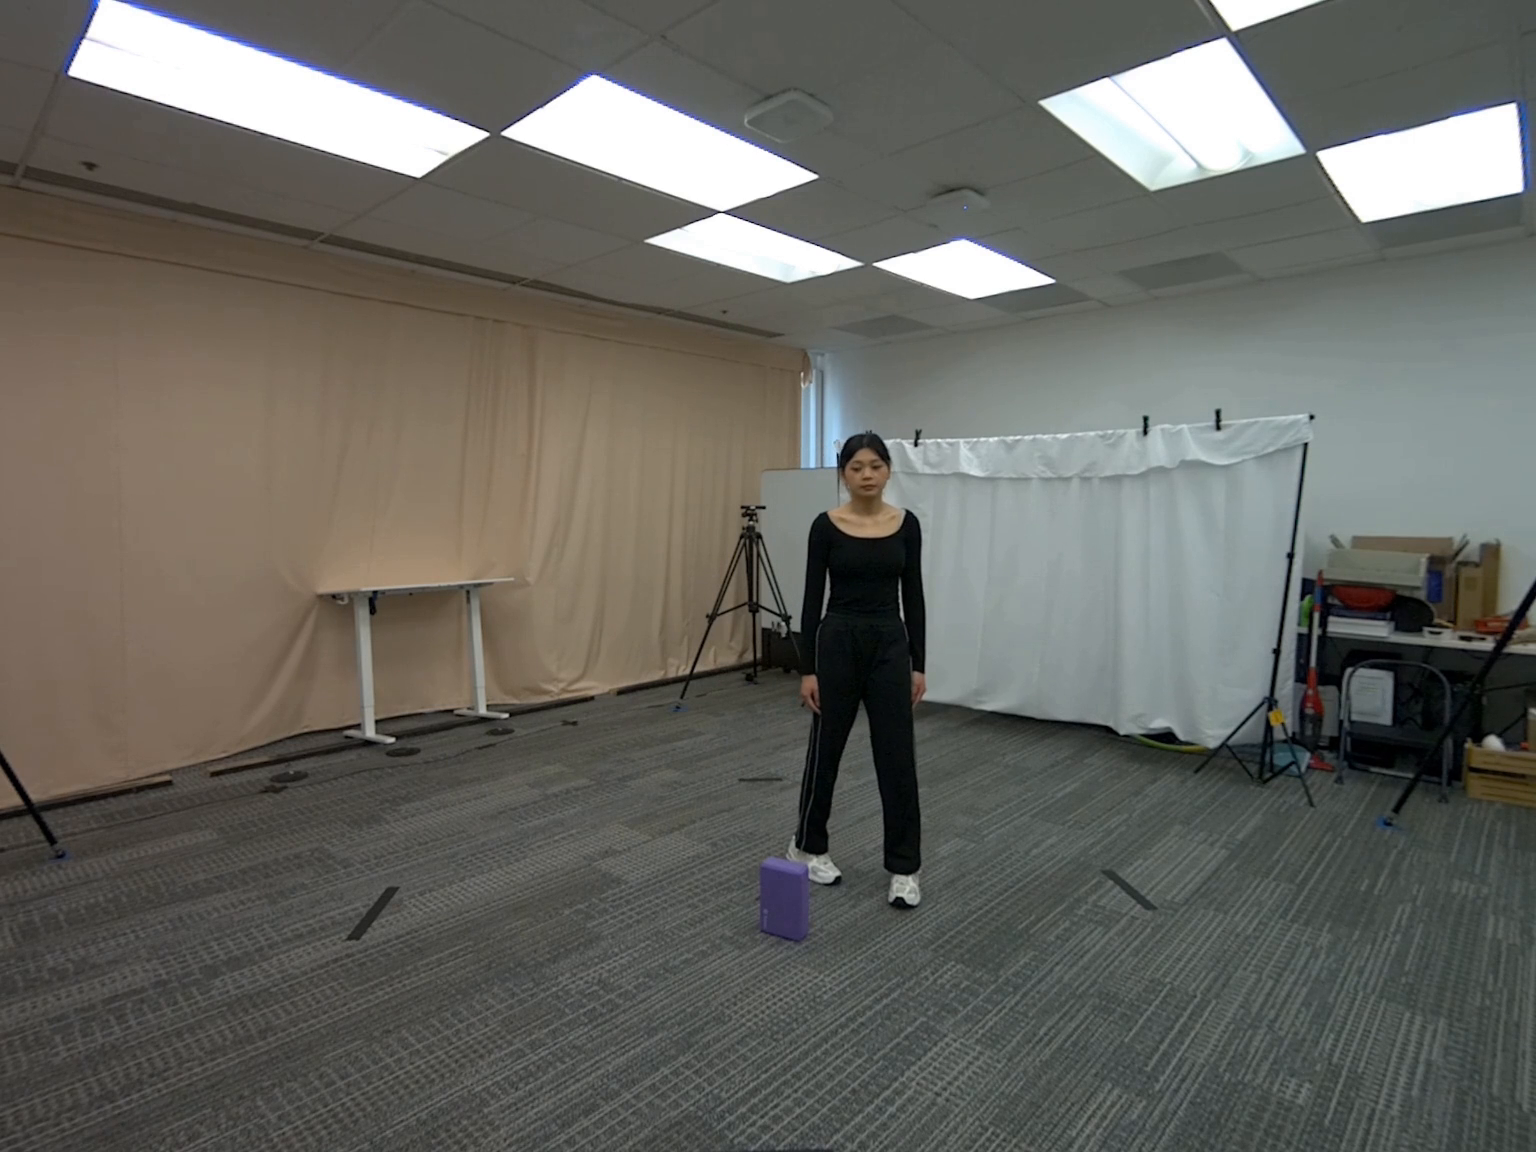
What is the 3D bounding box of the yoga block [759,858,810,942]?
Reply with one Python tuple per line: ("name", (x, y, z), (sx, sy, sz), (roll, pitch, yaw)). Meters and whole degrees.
("yoga block", (0.056, 1.050, 2.736), (0.153, 0.229, 0.074), (2, 5, 29))
